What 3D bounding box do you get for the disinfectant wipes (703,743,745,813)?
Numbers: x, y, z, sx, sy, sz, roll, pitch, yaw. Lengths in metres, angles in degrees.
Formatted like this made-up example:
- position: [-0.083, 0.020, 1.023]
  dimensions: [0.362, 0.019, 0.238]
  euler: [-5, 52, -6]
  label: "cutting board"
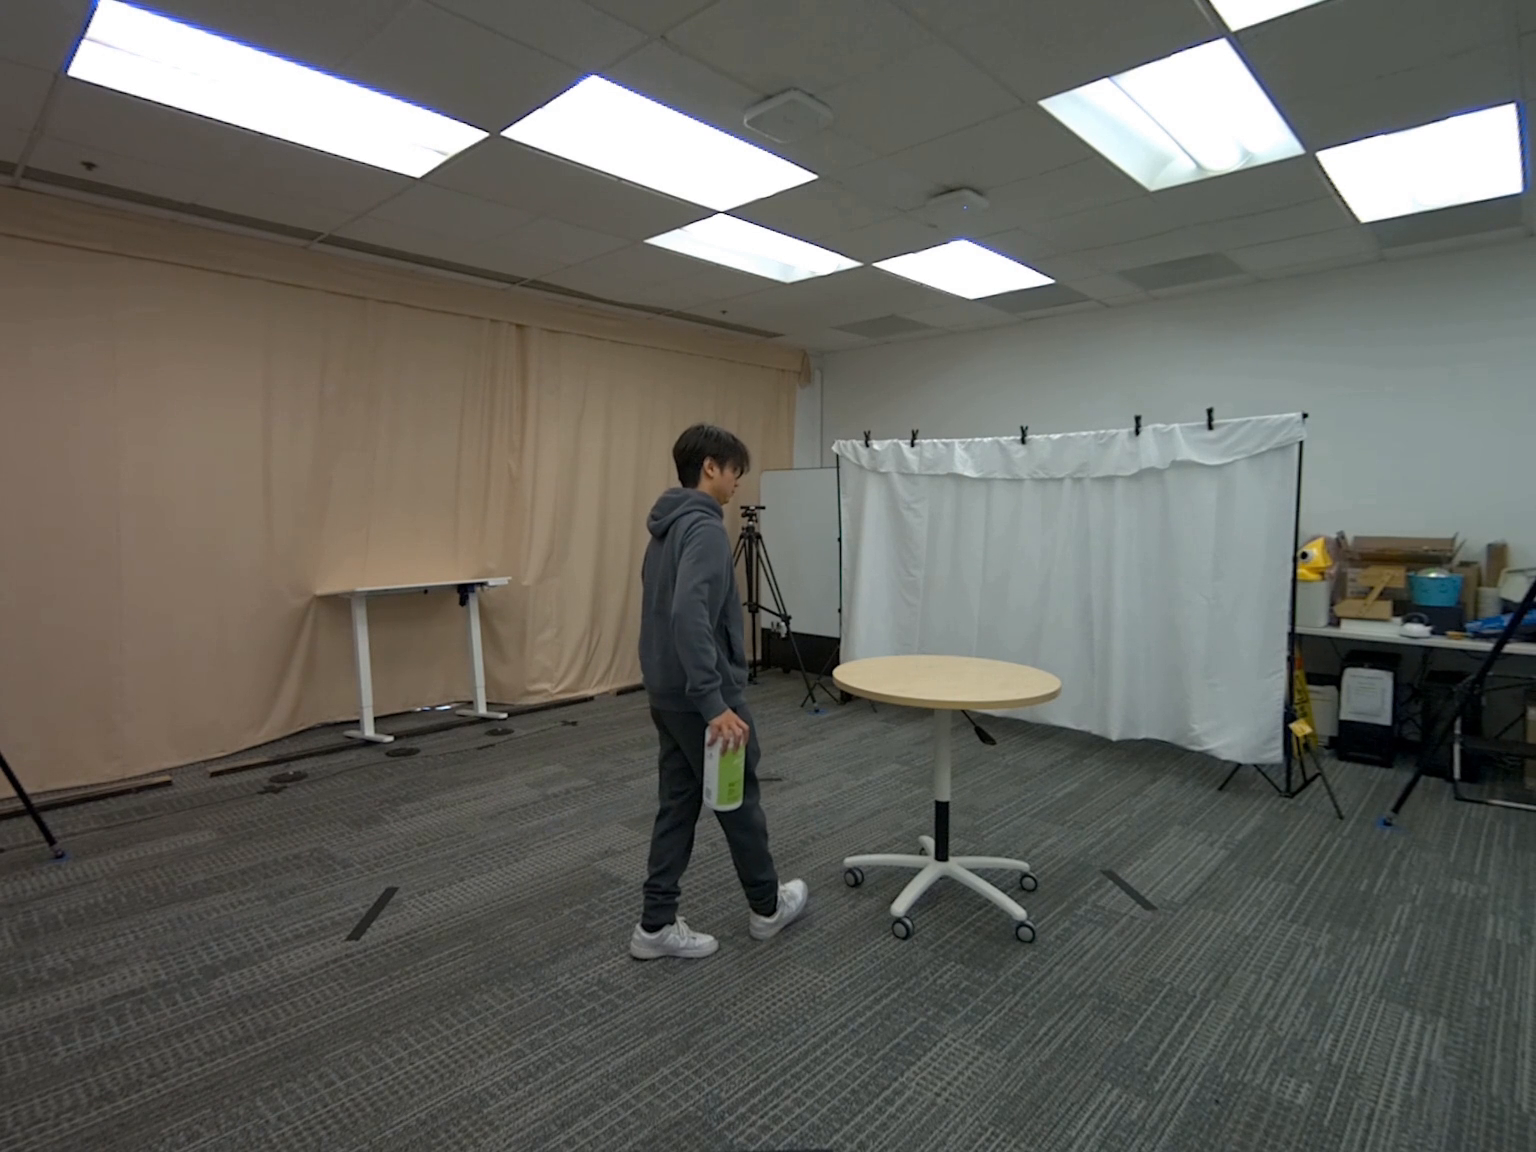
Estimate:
- position: [-0.120, 0.521, 2.305]
  dimensions: [0.118, 0.216, 0.119]
  euler: [0, 11, -2]
  label: "disinfectant wipes"
